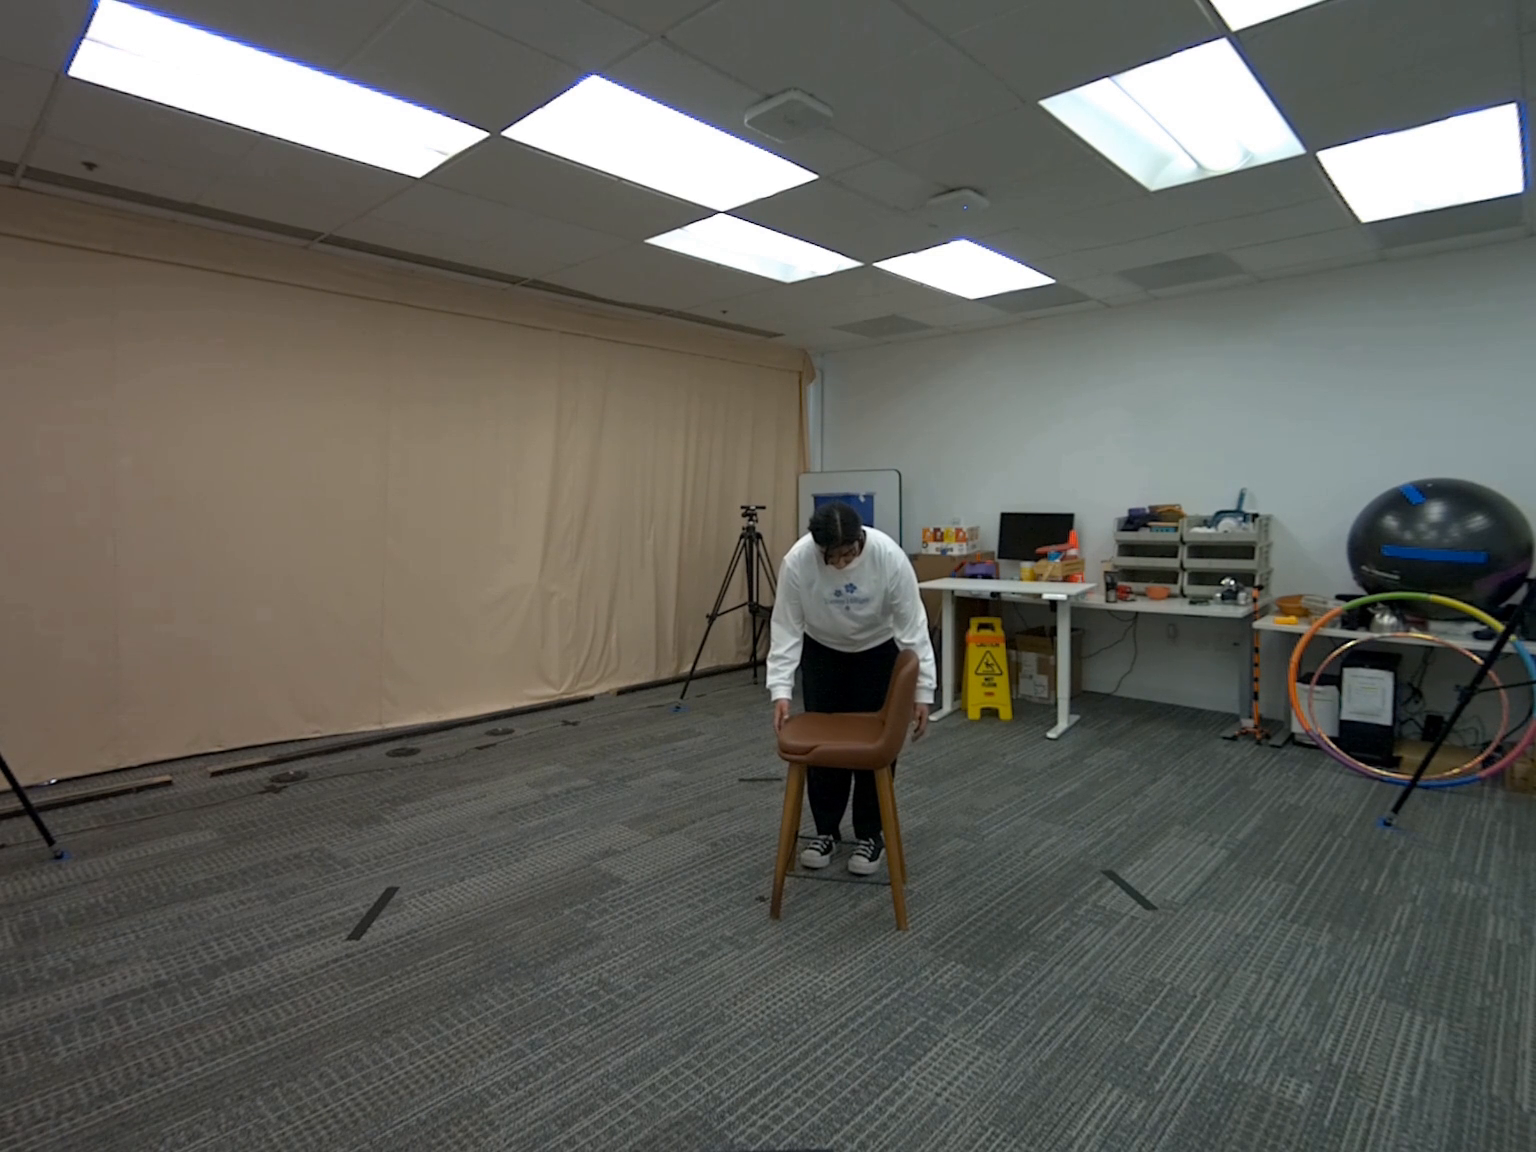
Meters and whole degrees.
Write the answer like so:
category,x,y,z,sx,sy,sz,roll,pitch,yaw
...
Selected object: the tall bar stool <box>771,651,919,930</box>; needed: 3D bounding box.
category,x,y,z,sx,sy,sz,roll,pitch,yaw
tall bar stool,0.270,0.707,2.963,0.474,0.888,0.451,2,3,12
